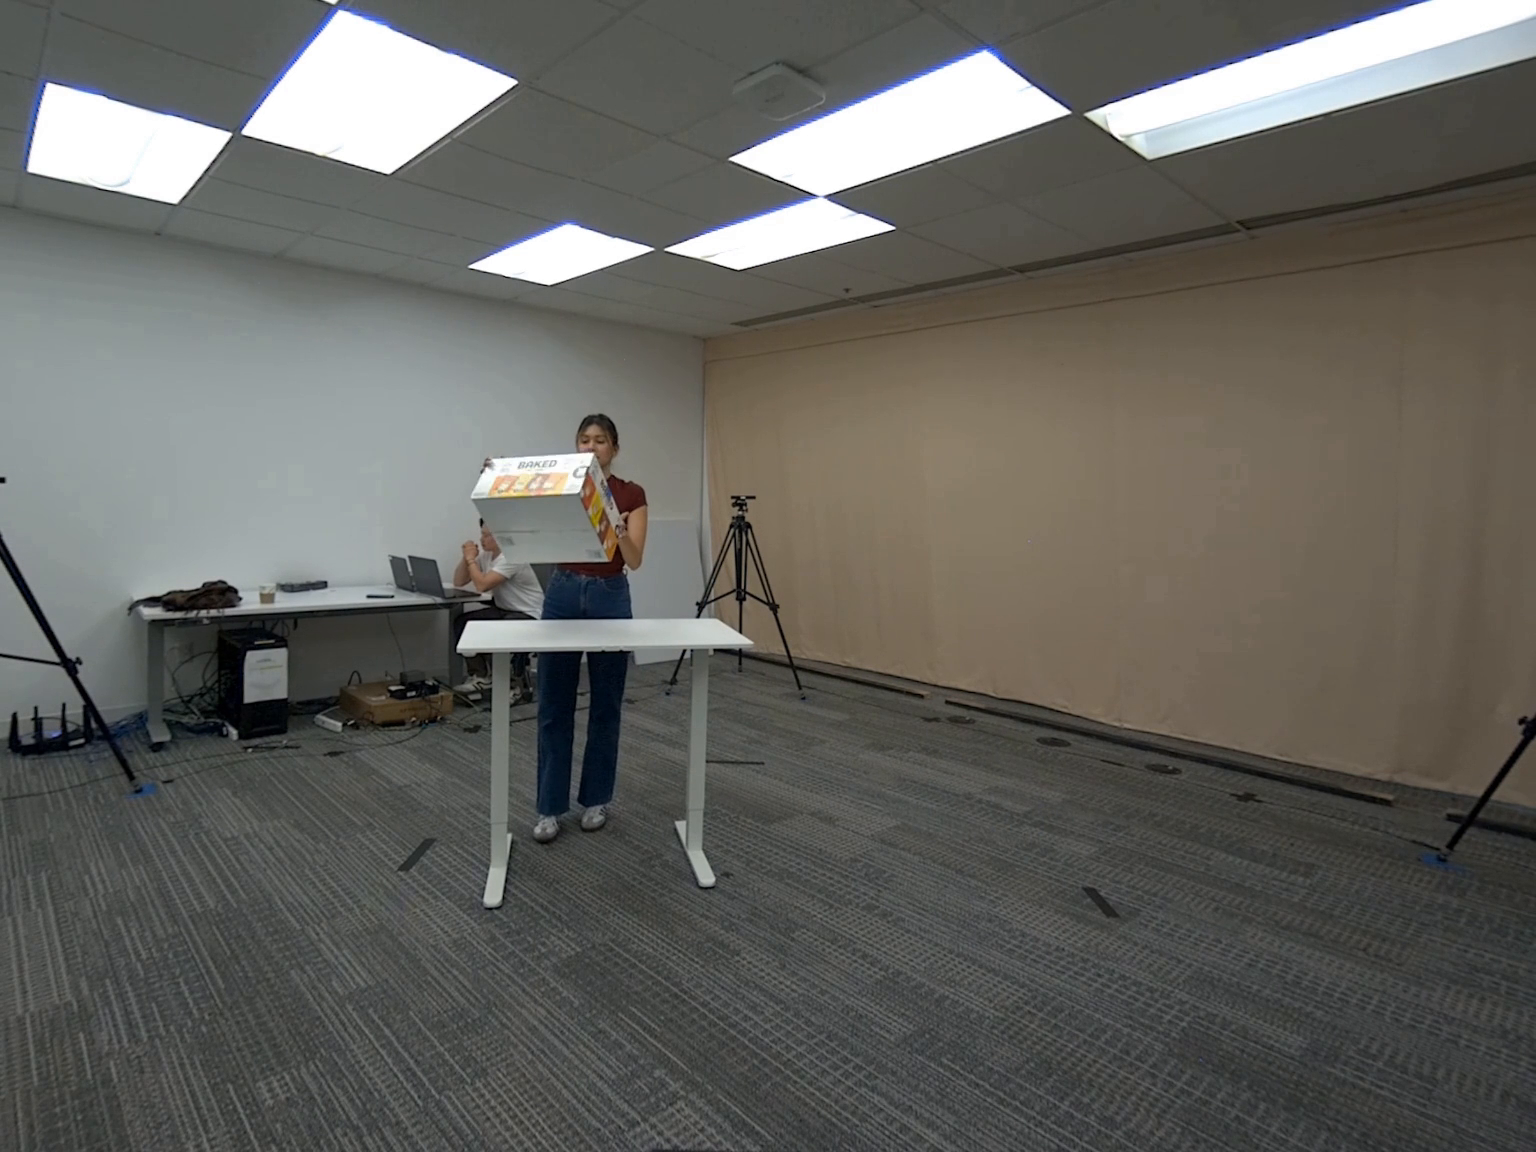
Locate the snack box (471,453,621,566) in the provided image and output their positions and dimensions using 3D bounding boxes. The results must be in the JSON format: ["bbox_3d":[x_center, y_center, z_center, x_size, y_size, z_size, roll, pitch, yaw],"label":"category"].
[{"bbox_3d":[-0.776,-0.230,2.993,0.410,0.331,0.209,-1,46,14],"label":"snack box"}]
